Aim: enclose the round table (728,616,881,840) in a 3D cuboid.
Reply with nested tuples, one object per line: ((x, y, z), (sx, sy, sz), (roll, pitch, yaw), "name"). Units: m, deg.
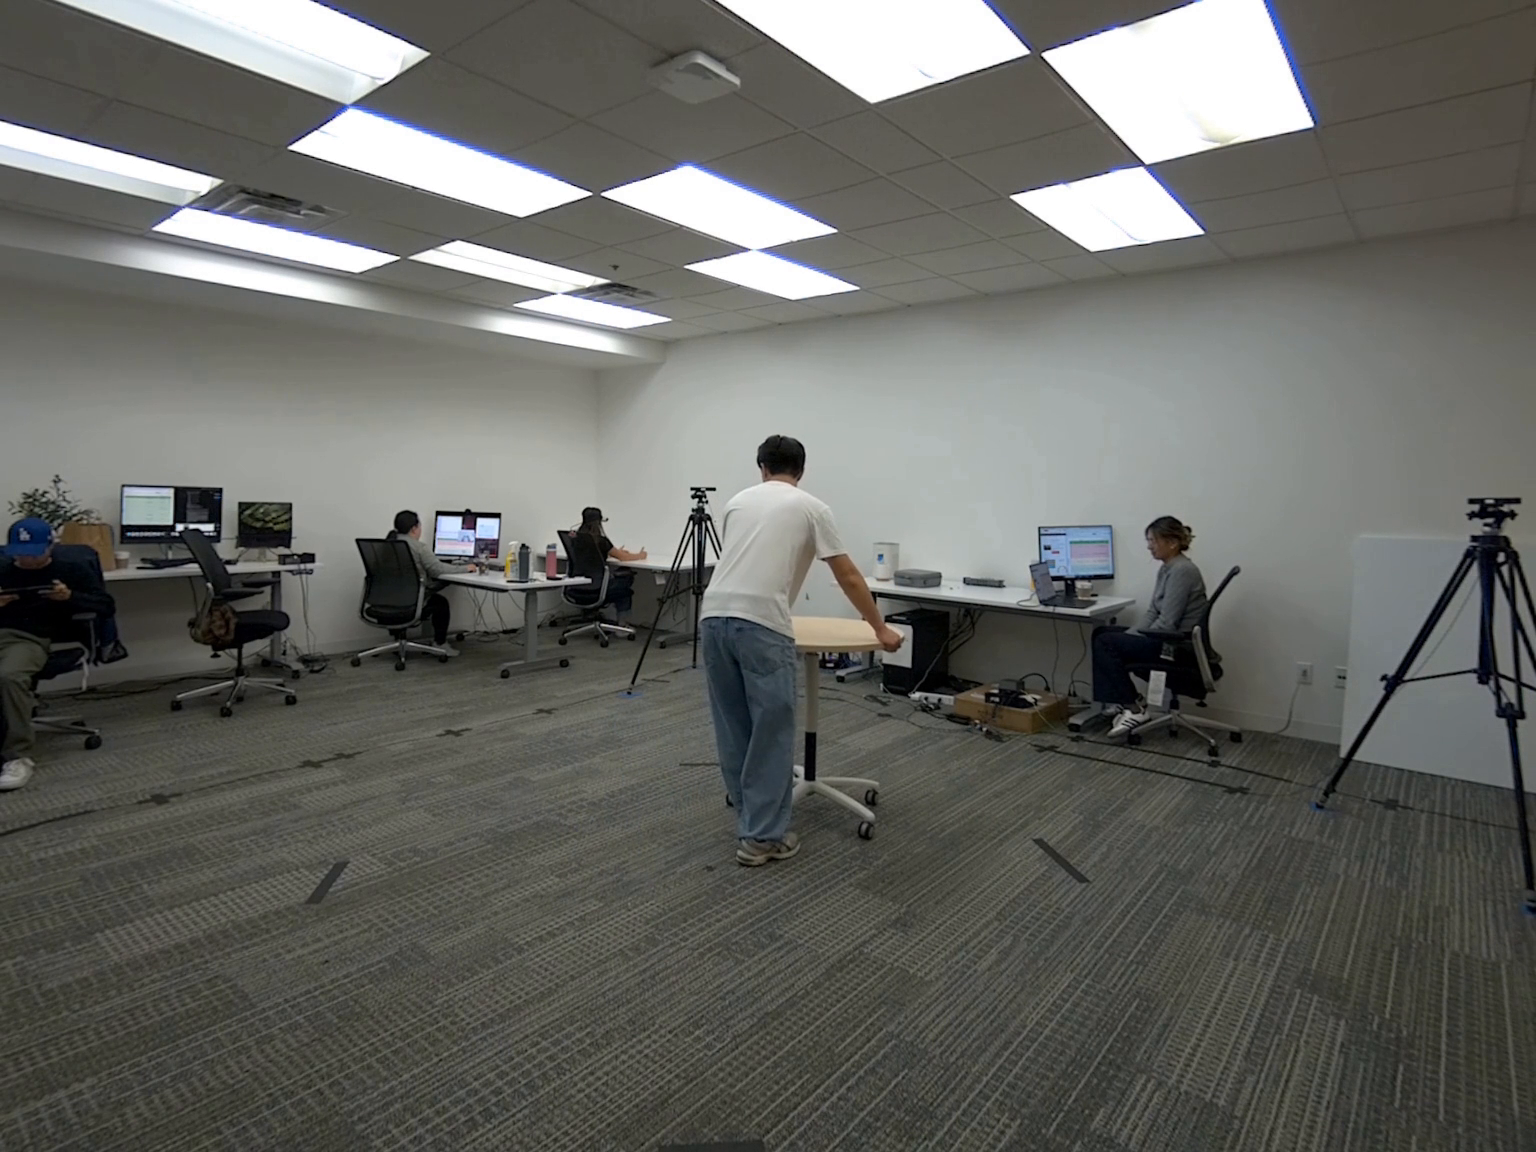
((0.172, 0.626, 3.669), (0.763, 0.792, 0.767), (1, 4, -2), "round table")
